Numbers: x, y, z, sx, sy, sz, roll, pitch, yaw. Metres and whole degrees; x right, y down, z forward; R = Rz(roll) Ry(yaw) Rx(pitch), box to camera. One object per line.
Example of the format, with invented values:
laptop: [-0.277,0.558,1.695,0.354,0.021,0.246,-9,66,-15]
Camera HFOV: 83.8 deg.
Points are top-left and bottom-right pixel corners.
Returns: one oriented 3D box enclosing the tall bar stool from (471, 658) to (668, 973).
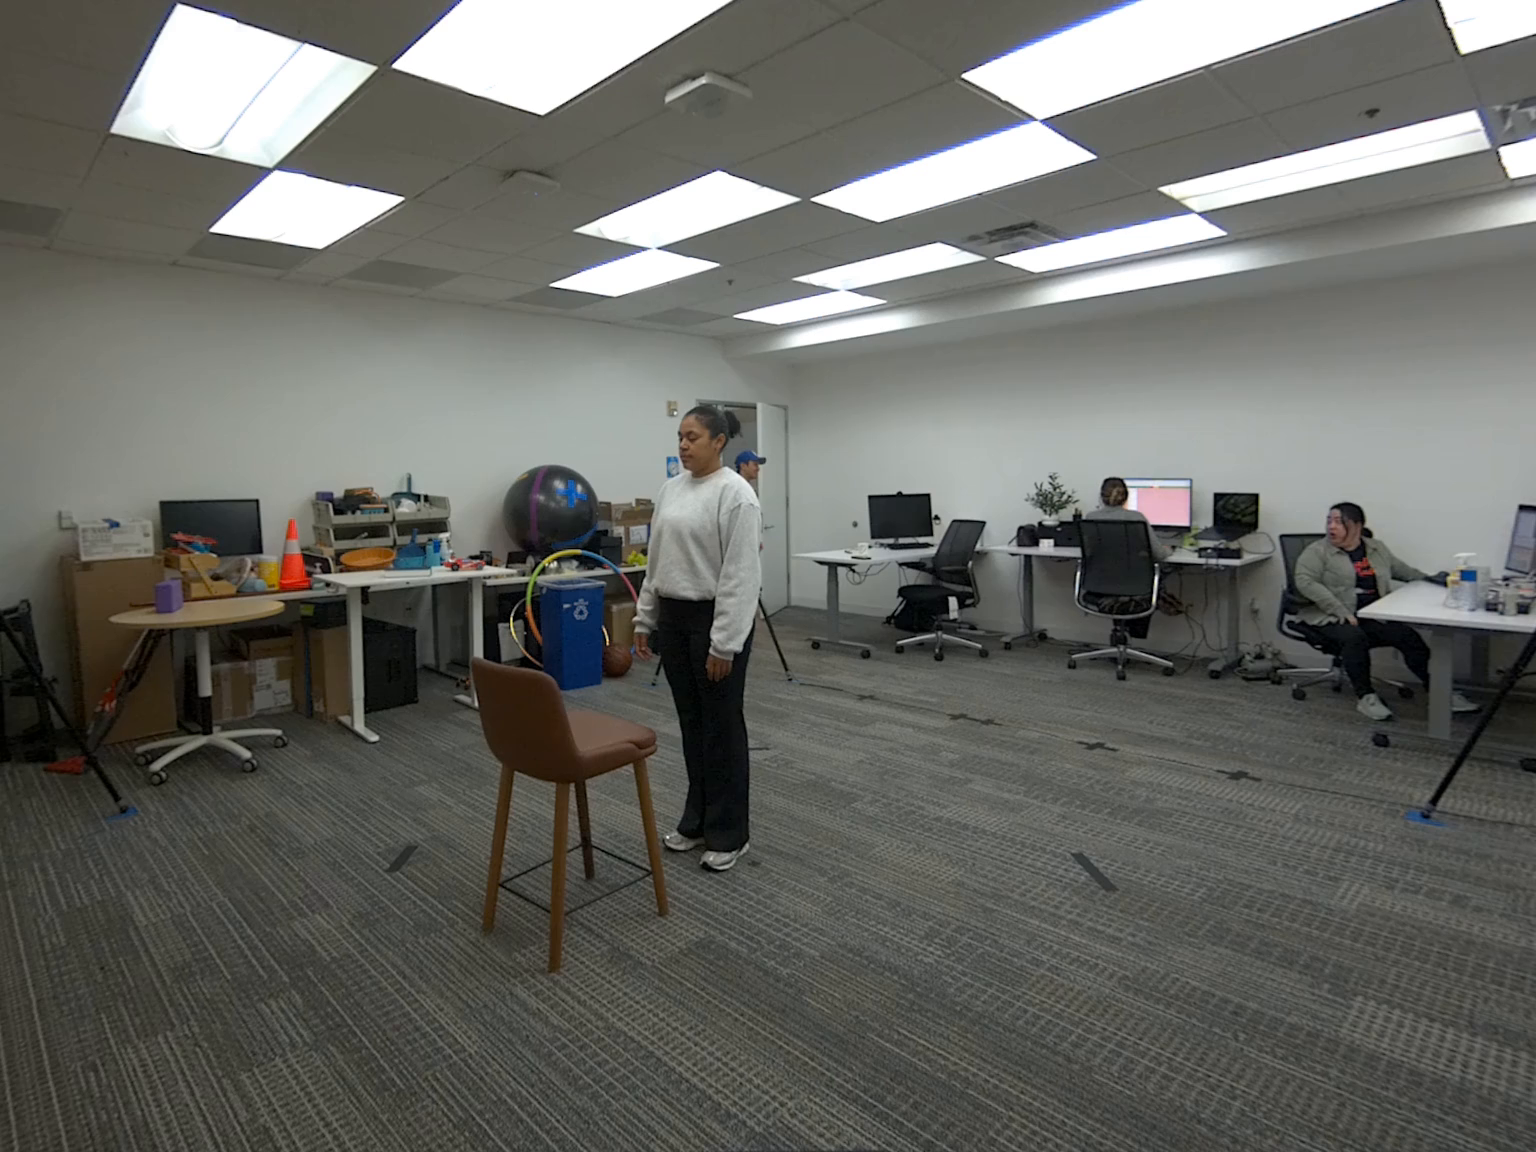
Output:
tall bar stool: [-0.625,0.665,2.695,0.470,0.885,0.456,3,8,41]
